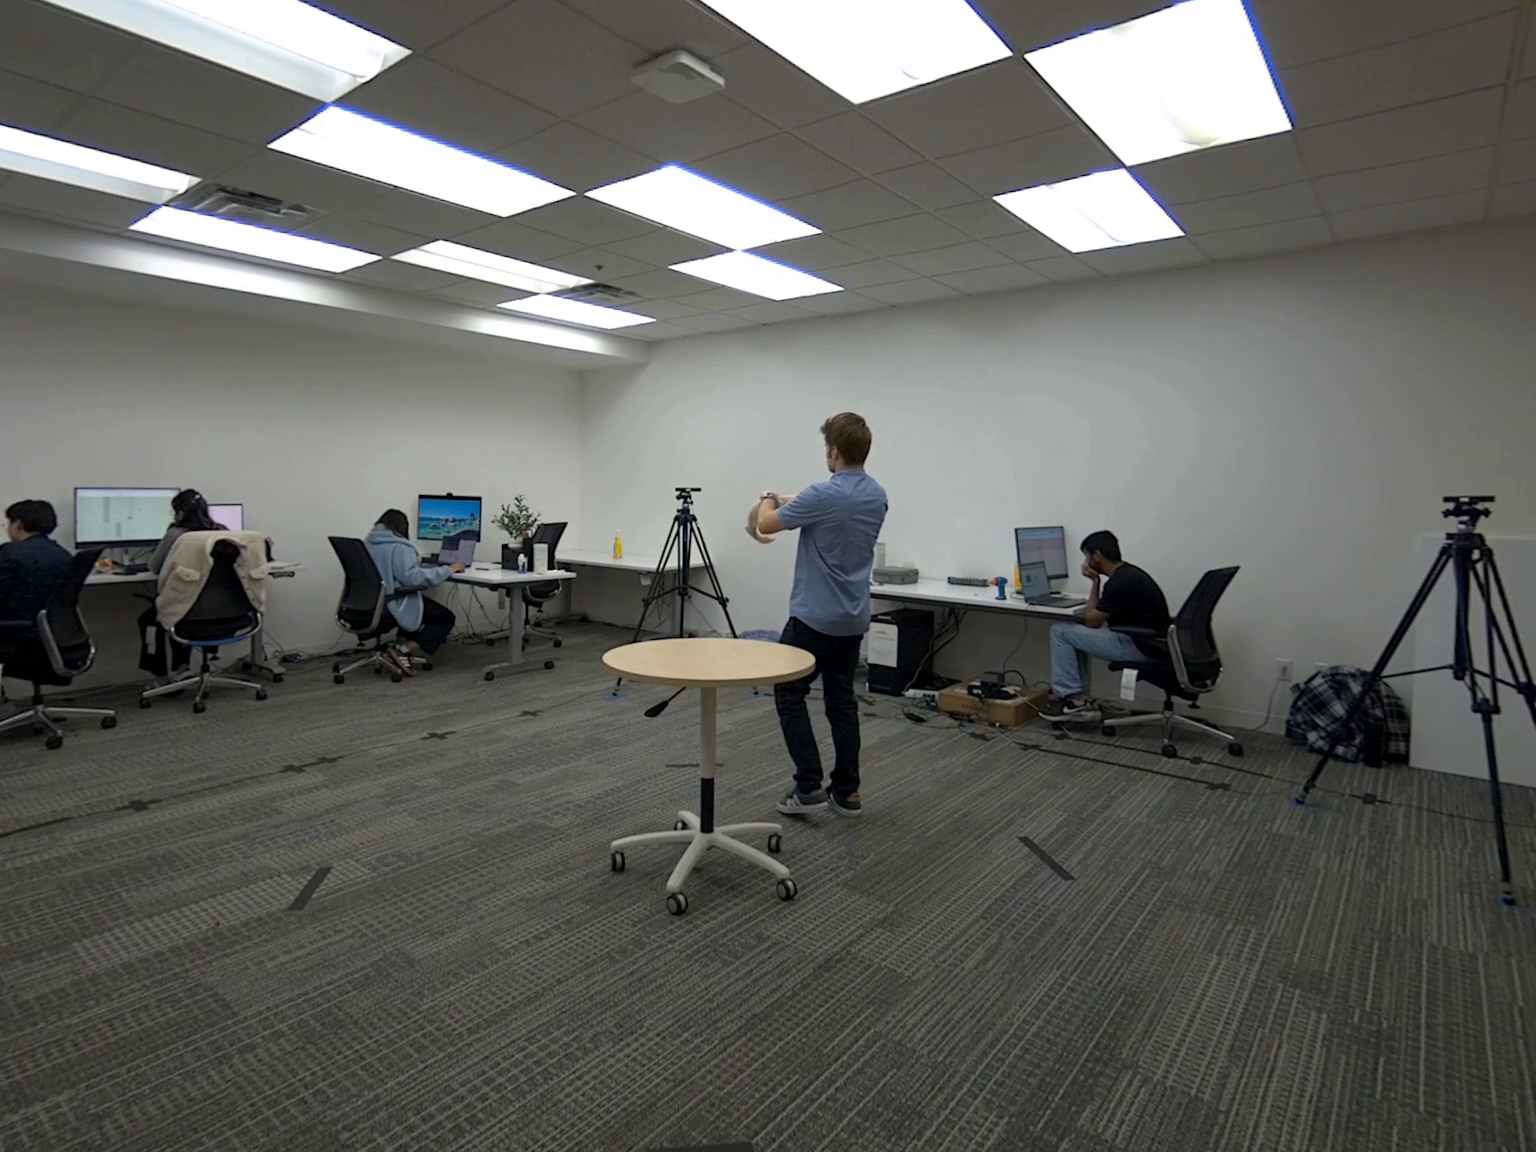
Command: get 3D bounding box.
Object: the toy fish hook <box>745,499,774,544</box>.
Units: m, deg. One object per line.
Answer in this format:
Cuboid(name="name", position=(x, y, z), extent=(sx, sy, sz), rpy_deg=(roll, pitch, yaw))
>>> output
Cuboid(name="toy fish hook", position=(0.089, -0.248, 4.059), extent=(0.490, 0.222, 0.050), rpy_deg=(7, 19, -35))
